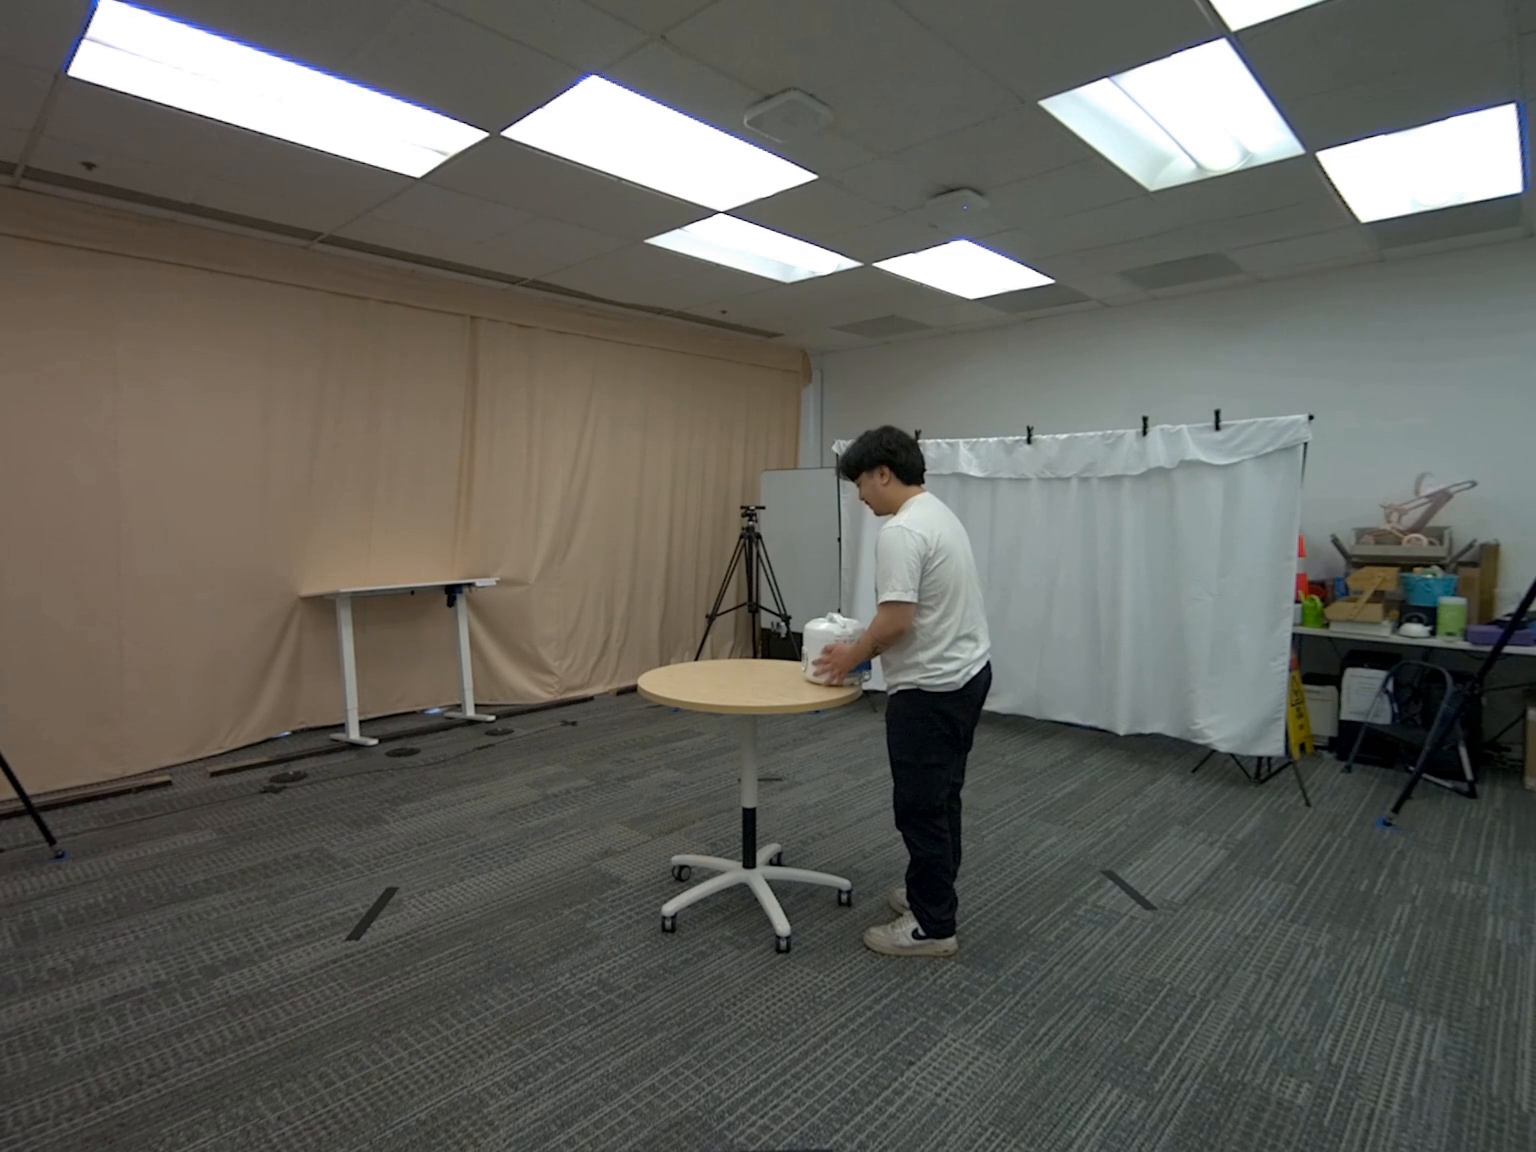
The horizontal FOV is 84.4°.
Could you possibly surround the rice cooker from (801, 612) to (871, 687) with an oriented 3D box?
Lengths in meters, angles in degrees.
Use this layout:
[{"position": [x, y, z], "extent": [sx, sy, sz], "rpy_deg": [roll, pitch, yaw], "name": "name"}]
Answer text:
[{"position": [0.231, 0.245, 2.865], "extent": [0.215, 0.232, 0.224], "rpy_deg": [0, 4, -12], "name": "rice cooker"}]
